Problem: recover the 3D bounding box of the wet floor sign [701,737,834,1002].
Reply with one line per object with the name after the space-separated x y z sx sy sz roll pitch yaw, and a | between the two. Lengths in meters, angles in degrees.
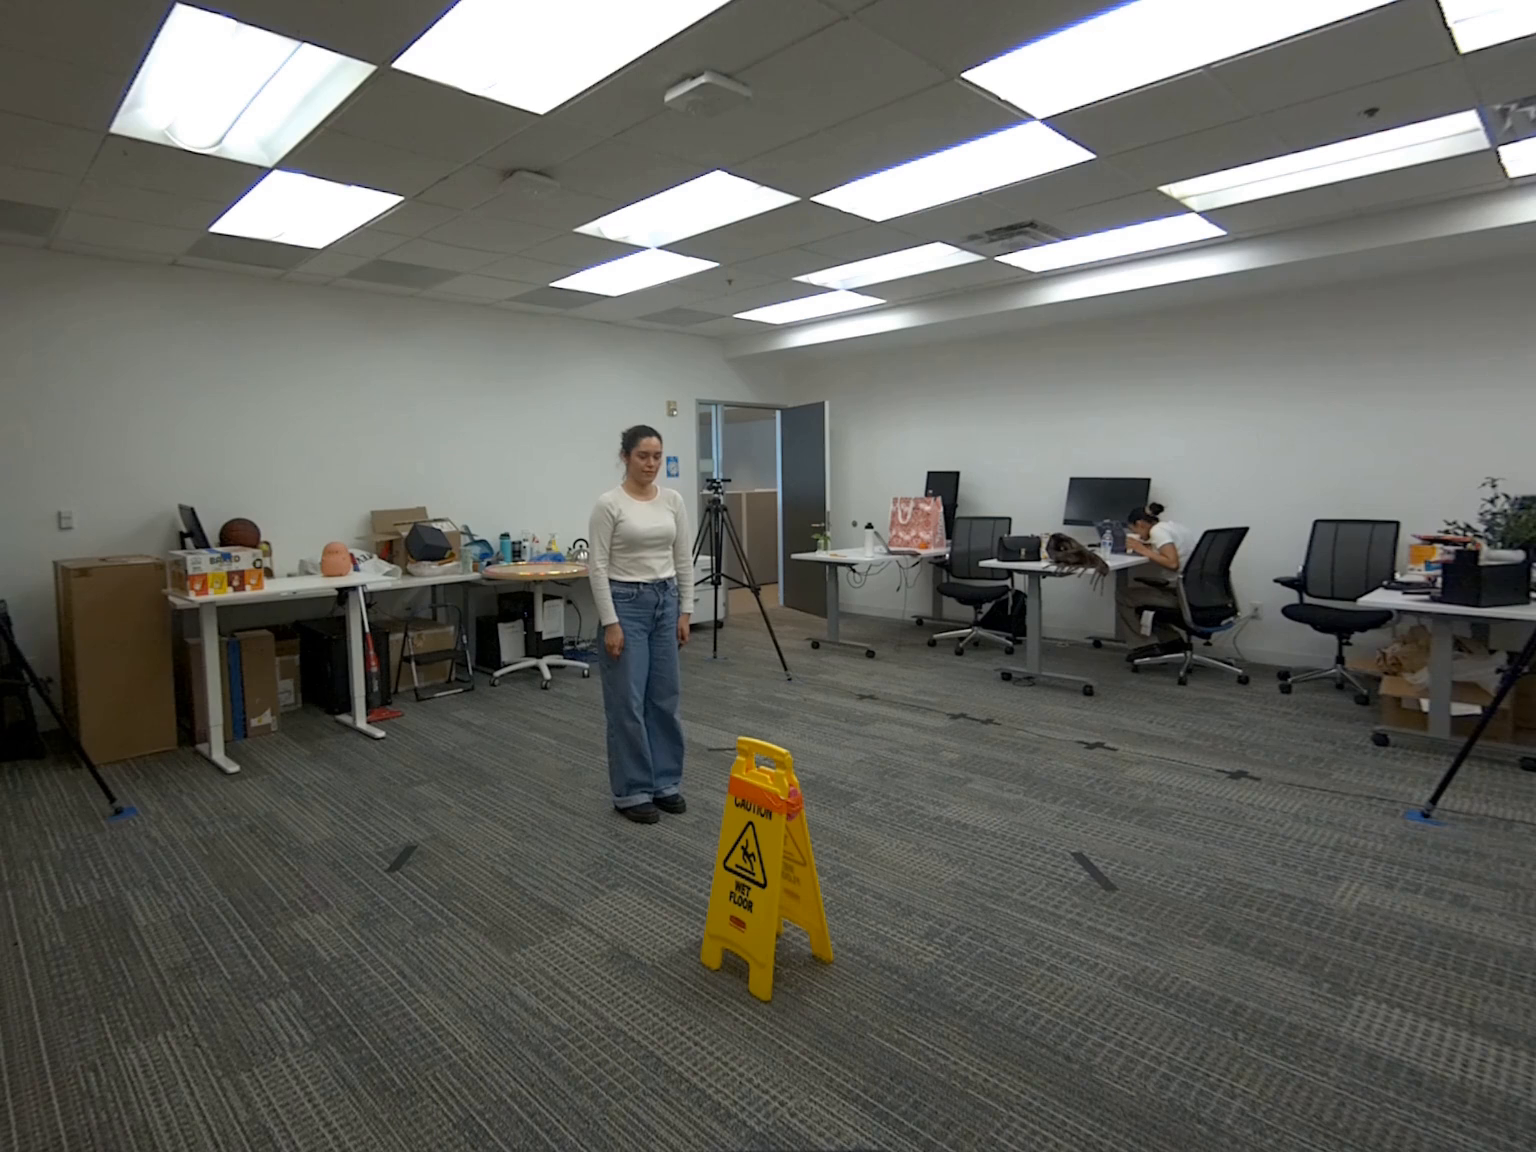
0.000 0.796 2.454 0.282 0.643 0.291 -4 6 -44 | wet floor sign
